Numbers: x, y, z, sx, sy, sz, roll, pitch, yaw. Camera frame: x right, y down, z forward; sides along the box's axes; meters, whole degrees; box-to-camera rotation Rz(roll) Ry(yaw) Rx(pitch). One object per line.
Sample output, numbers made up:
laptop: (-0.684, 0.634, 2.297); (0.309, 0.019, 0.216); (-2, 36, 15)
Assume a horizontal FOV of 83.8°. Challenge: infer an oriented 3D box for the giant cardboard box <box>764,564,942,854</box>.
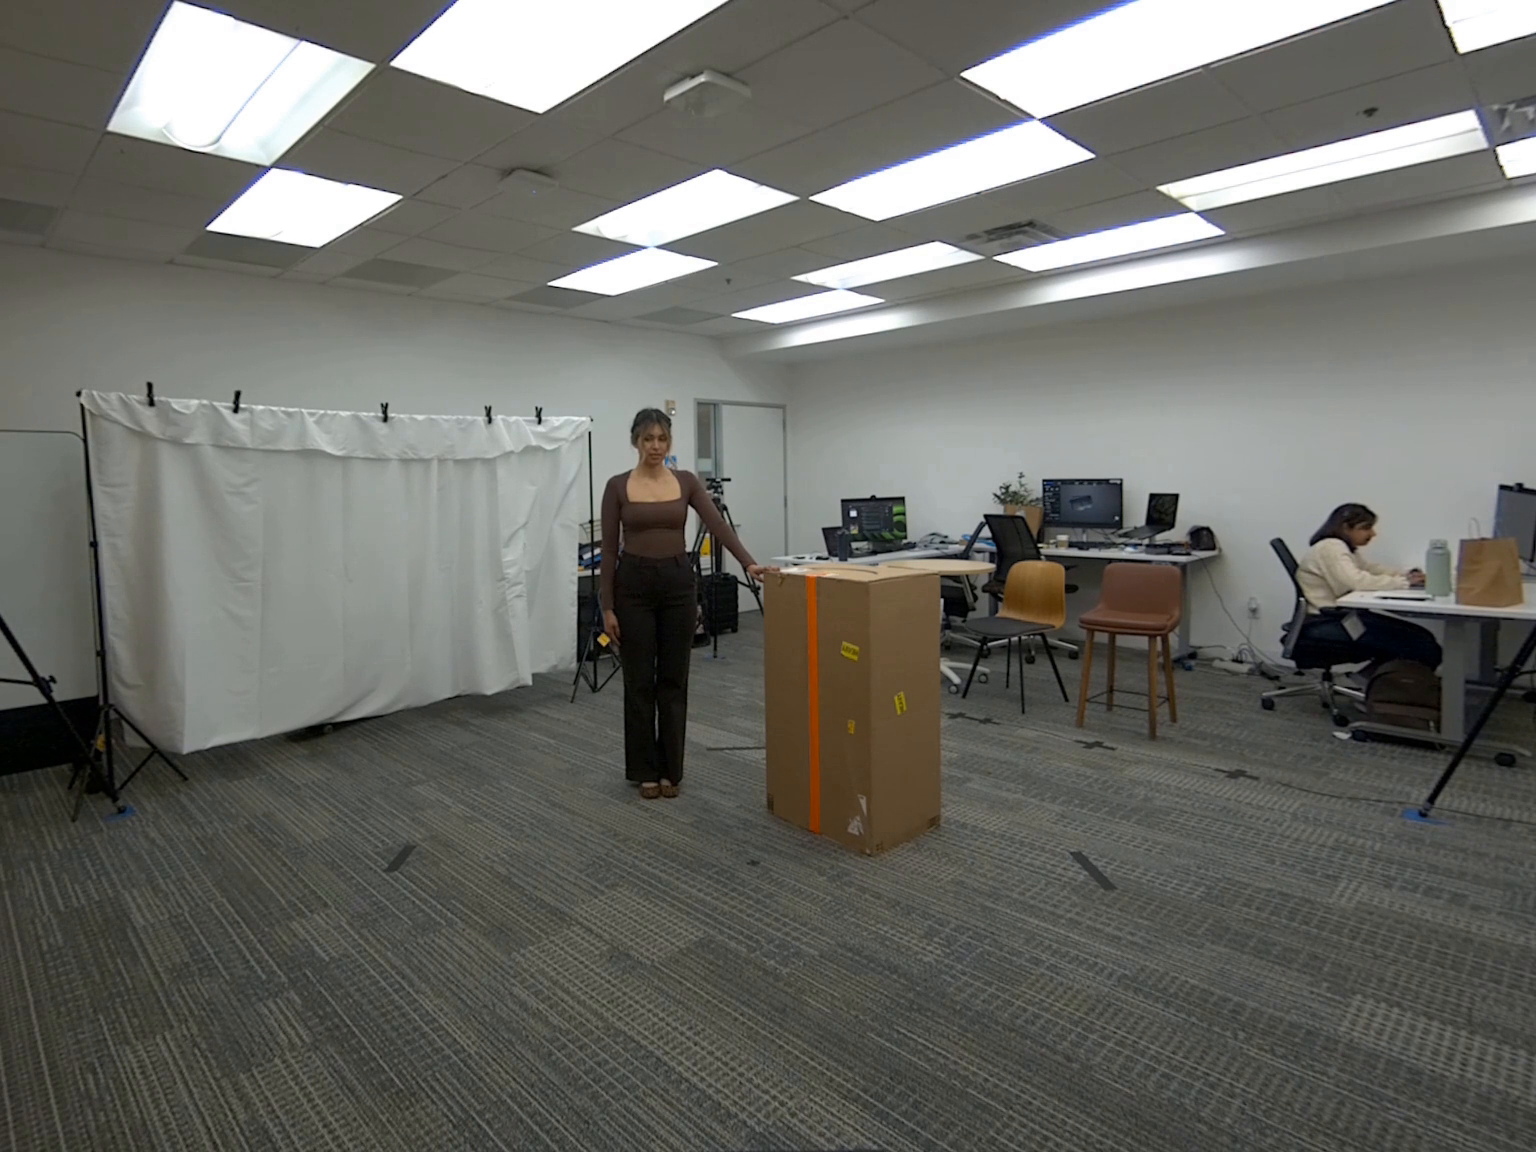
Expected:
giant cardboard box: (0.335, 0.486, 3.456); (0.435, 1.023, 0.602); (-5, 6, -39)
